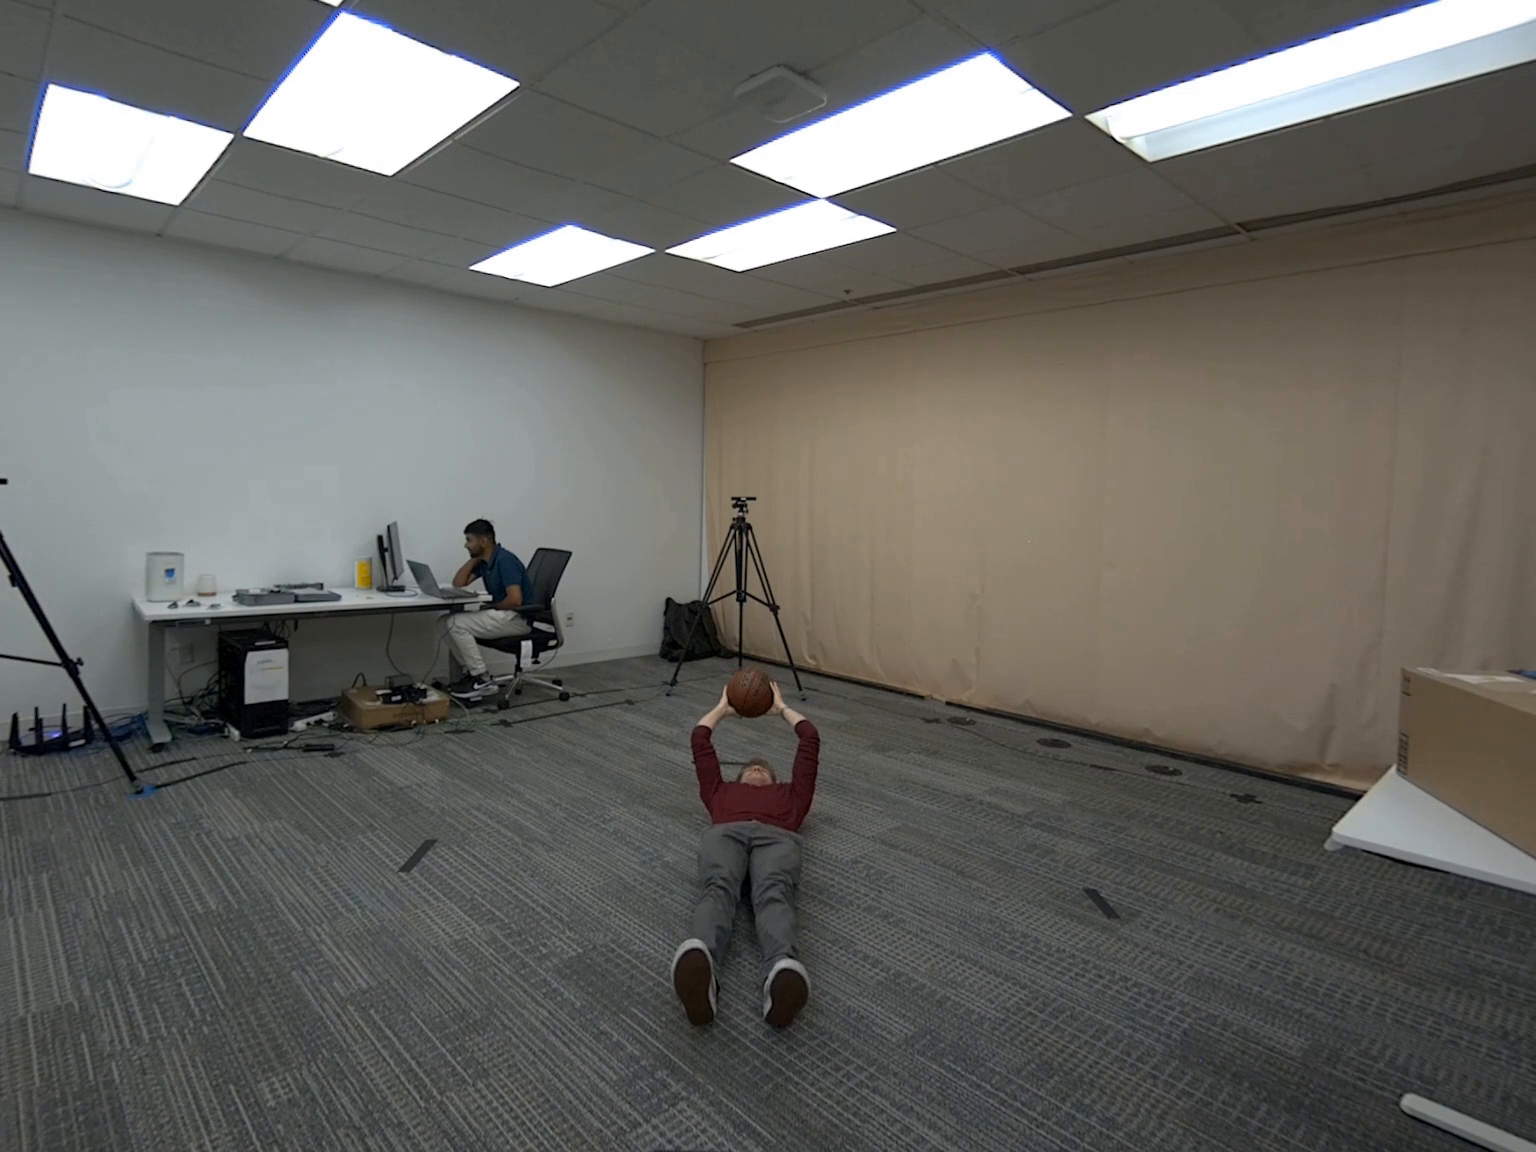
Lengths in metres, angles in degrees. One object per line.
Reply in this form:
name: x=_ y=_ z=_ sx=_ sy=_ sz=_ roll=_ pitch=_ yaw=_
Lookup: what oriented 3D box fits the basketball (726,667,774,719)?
basketball: x=-0.094 y=0.559 z=4.051 sx=0.236 sy=0.235 sz=0.237 roll=1 pitch=4 yaw=-1
